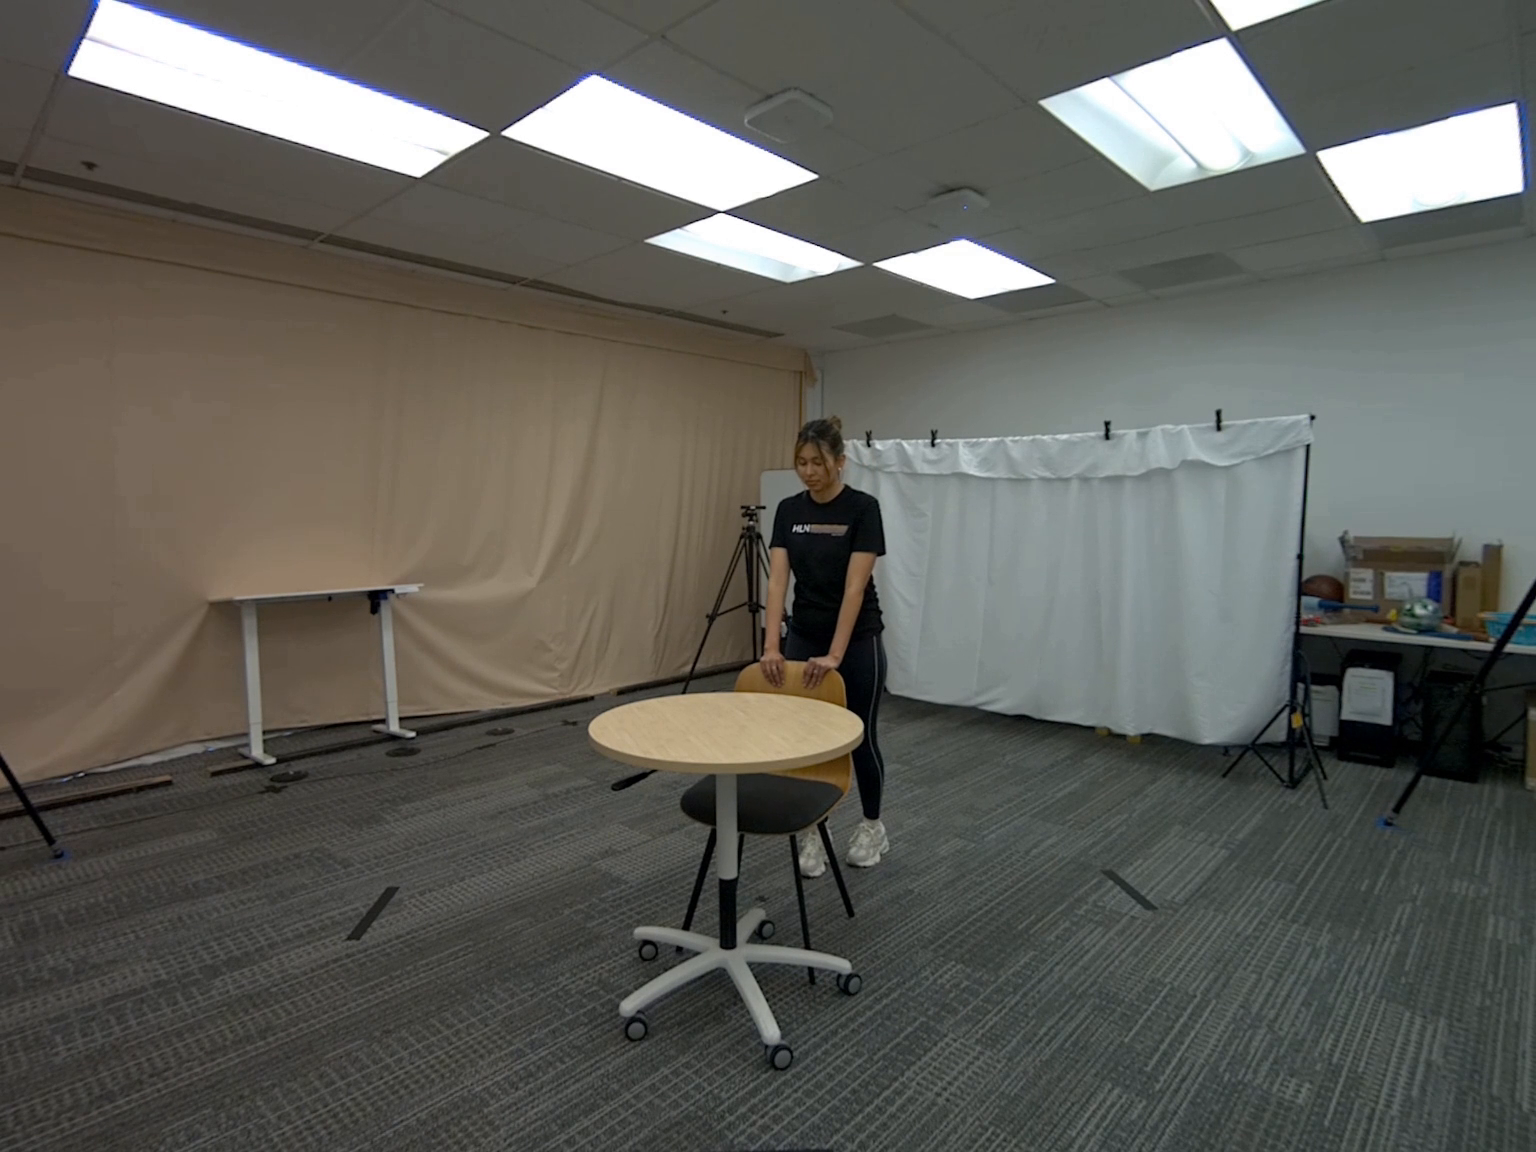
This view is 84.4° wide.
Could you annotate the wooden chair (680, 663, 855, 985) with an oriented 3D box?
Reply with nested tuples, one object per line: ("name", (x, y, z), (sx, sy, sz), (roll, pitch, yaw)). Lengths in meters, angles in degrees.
("wooden chair", (0.006, 0.739, 2.706), (0.490, 0.877, 0.510), (2, 0, 23))
